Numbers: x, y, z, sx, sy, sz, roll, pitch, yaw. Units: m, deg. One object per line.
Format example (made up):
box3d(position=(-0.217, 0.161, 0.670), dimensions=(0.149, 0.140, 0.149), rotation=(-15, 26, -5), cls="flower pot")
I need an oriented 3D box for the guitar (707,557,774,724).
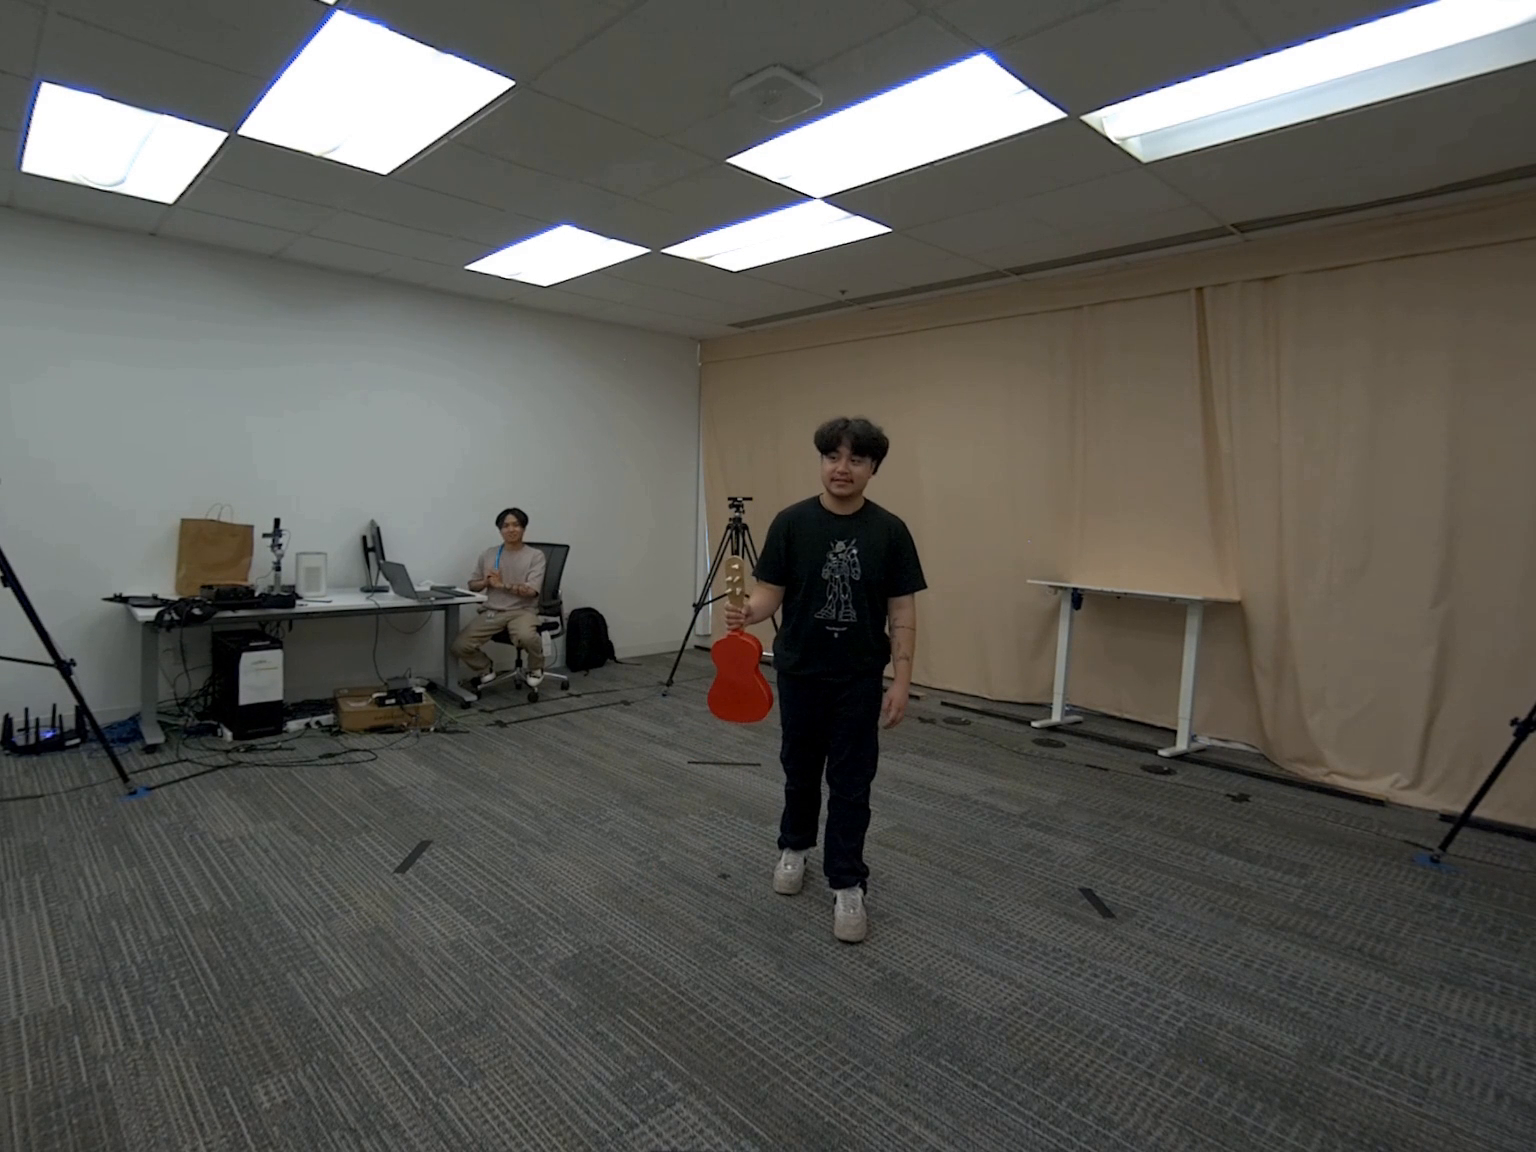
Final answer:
box3d(position=(-0.120, 0.200, 2.533), dimensions=(0.195, 0.495, 0.070), rotation=(-10, 7, 20), cls="guitar")
